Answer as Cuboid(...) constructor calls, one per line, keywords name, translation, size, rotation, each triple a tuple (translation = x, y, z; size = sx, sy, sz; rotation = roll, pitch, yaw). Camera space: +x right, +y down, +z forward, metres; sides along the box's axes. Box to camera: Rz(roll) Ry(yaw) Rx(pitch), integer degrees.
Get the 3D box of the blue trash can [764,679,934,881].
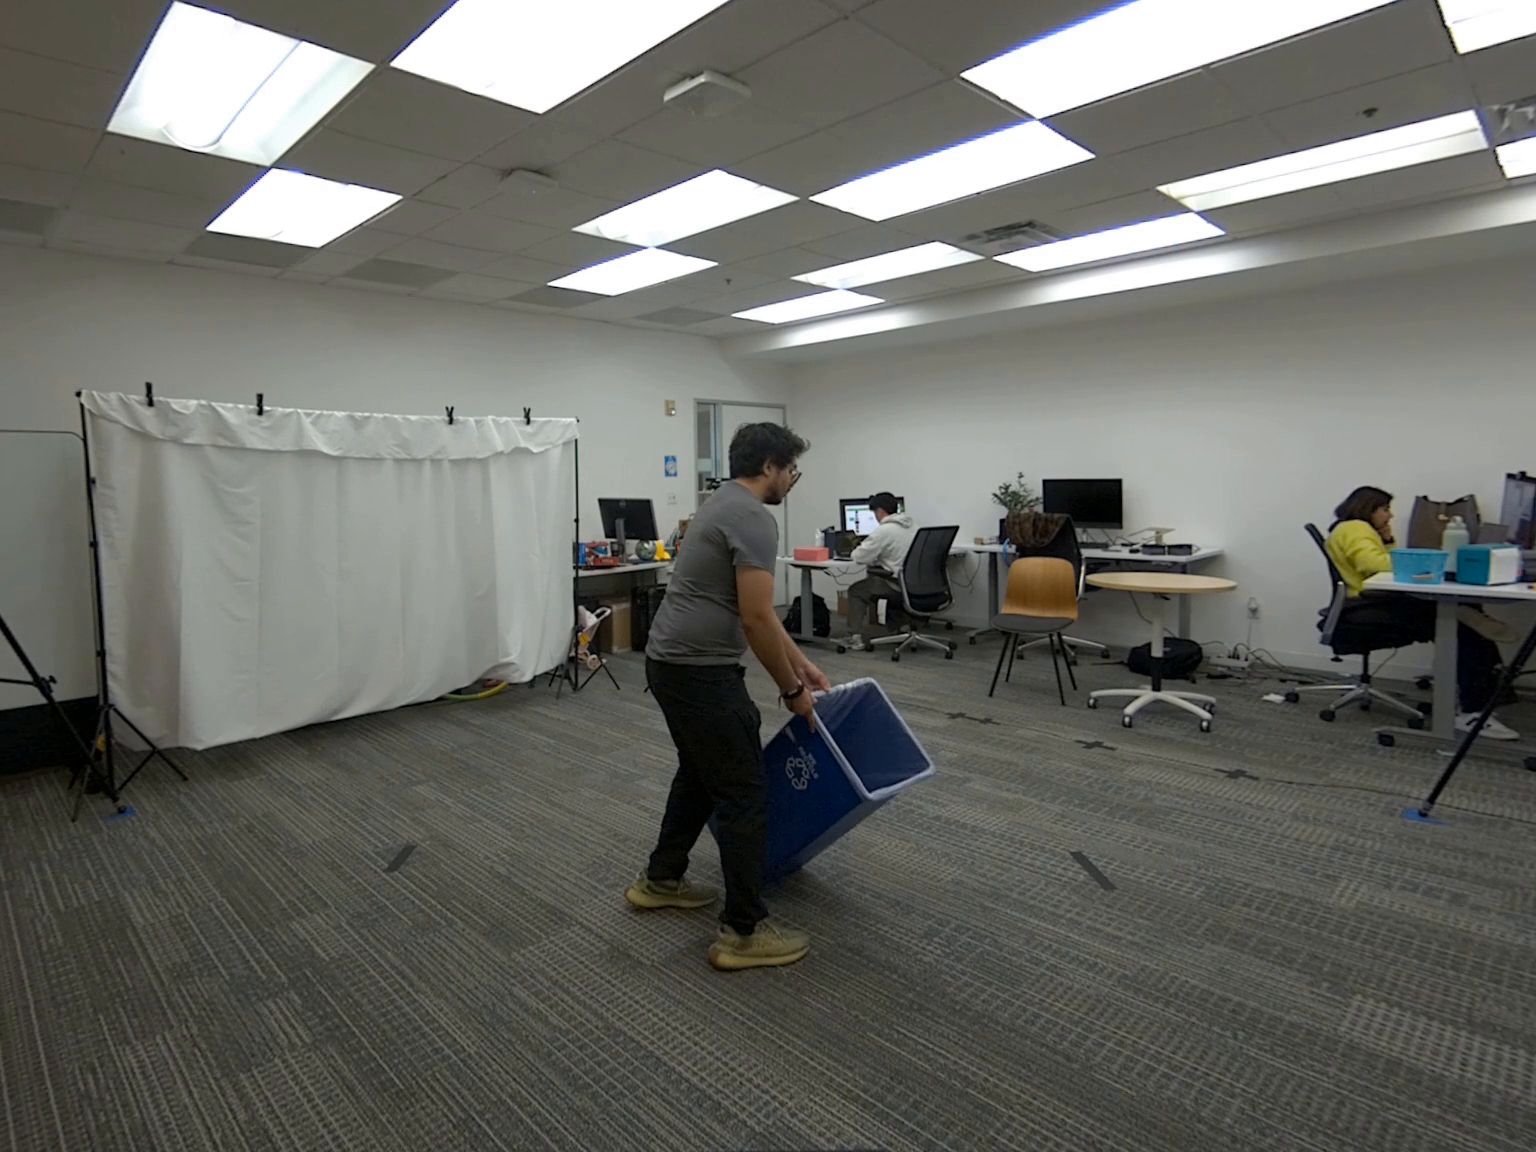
Cuboid(name="blue trash can", translation=(0.142, 0.716, 2.842), size=(0.364, 0.390, 0.711), rotation=(-6, -36, -46))
